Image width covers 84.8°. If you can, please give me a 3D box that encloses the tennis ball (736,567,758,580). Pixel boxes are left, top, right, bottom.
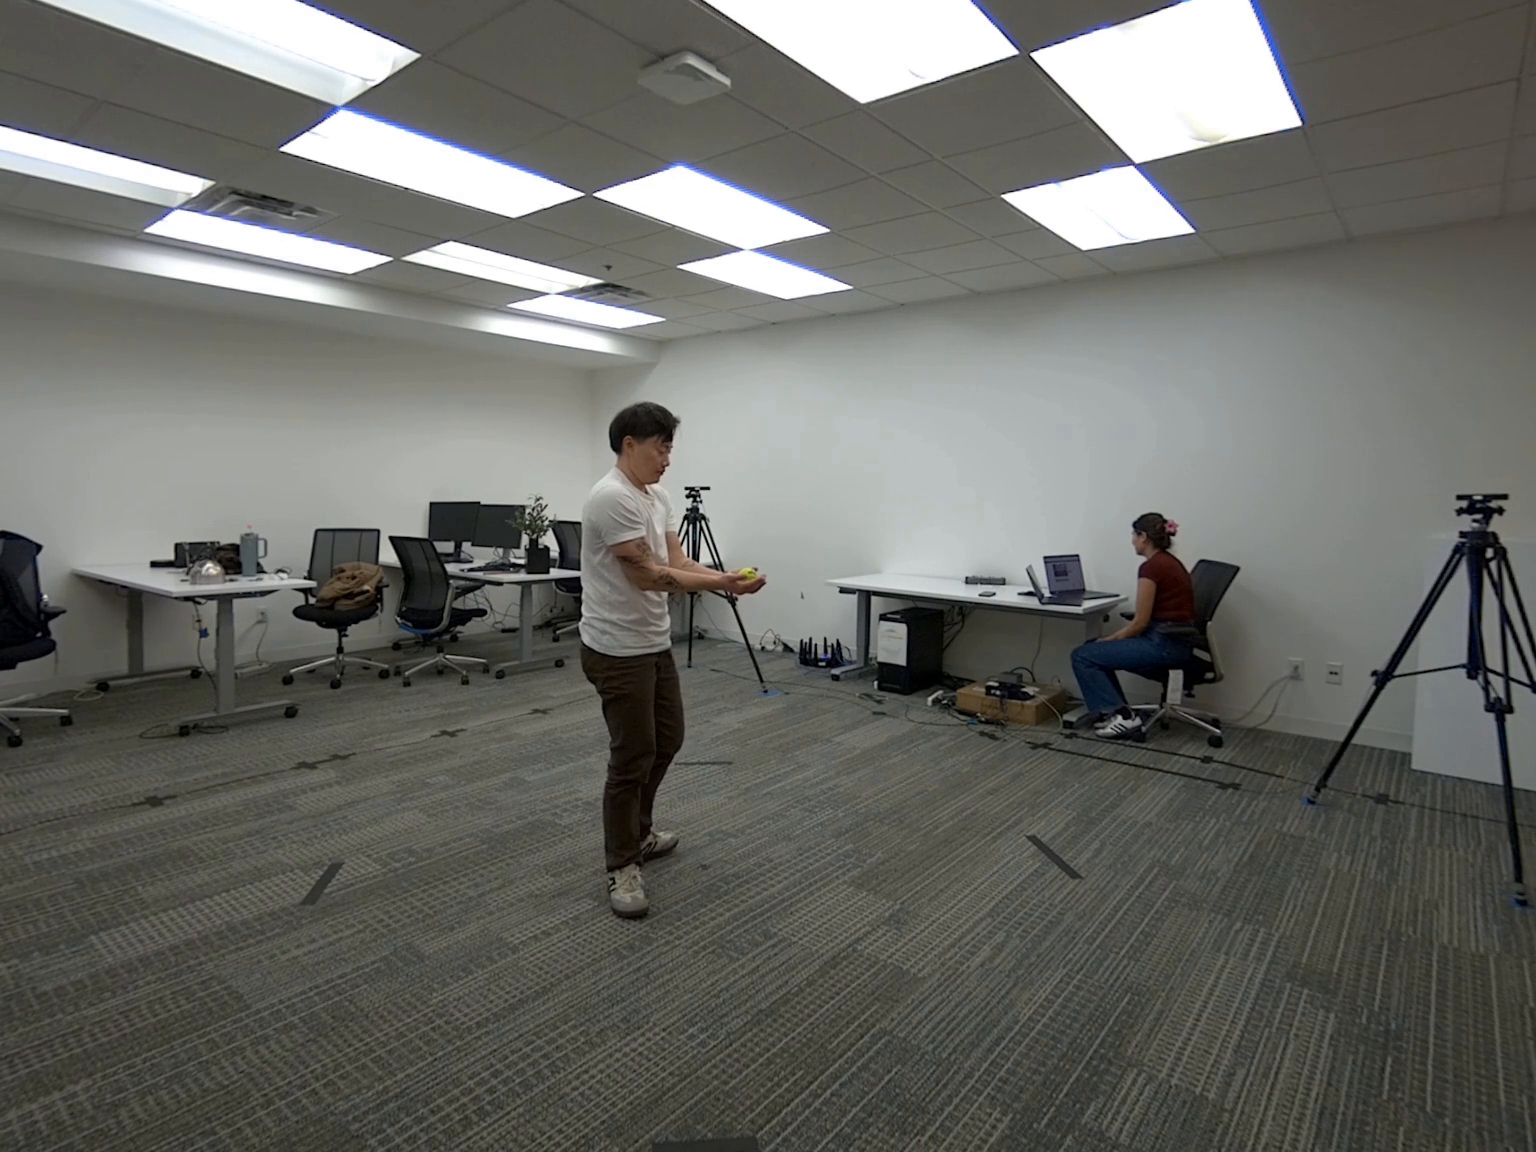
[{"bbox_3d":[-0.098,0.013,2.801,0.066,0.066,0.067,1,4,-2],"label":"tennis ball"}]
